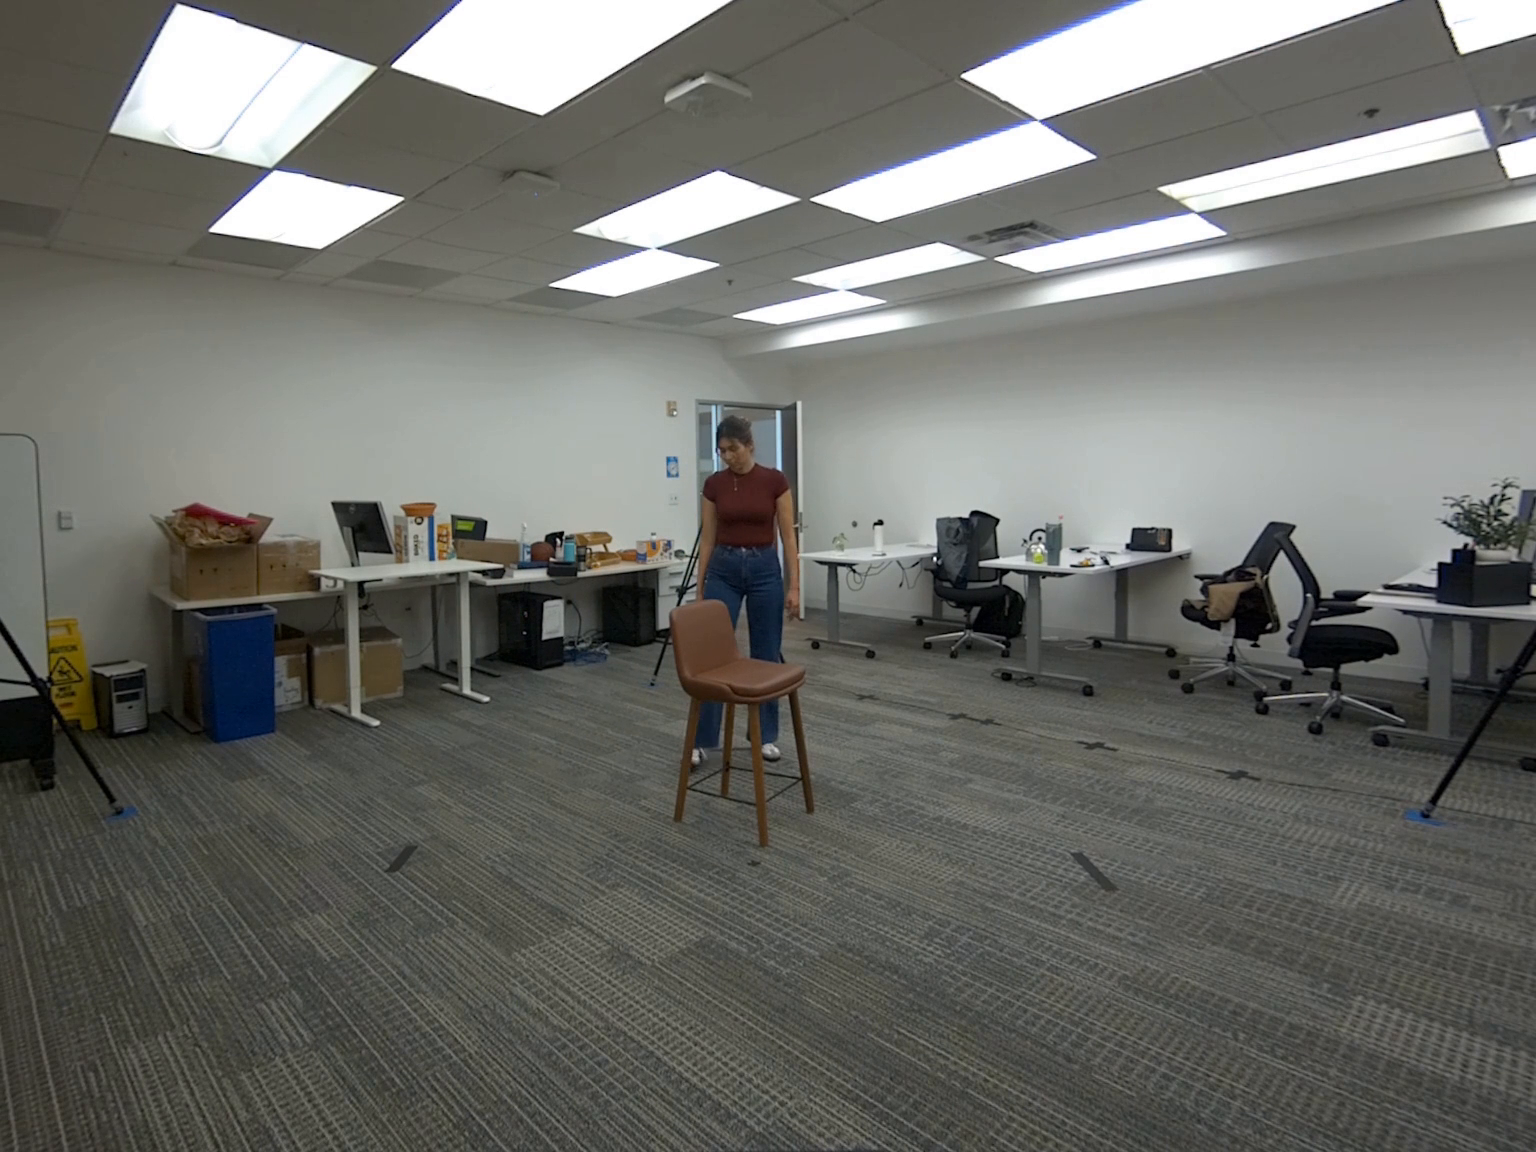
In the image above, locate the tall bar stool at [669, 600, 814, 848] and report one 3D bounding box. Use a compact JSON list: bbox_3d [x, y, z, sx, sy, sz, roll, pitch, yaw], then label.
[{"bbox_3d":[-0.112,0.569,3.516,0.480,0.888,0.445,0,3,33],"label":"tall bar stool"}]
